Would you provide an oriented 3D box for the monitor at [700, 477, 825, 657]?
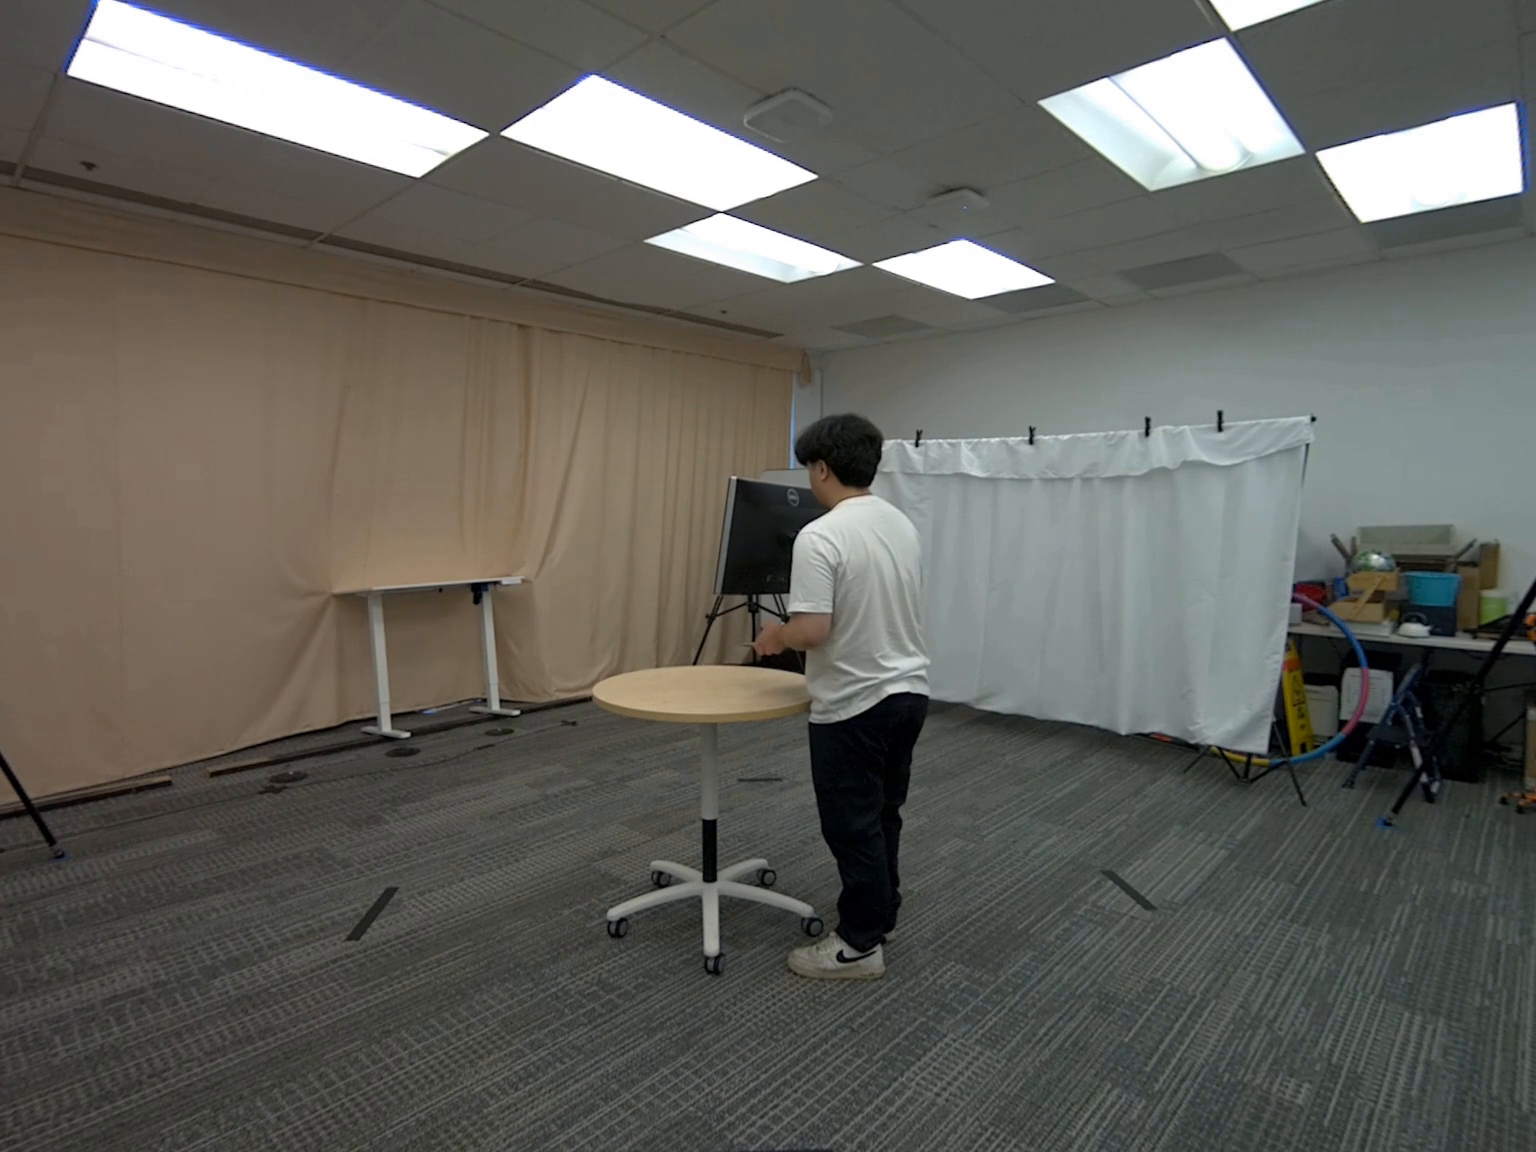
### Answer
[{"bbox_3d":[0.092,-0.027,2.704,0.217,0.554,0.547,4,2,38],"label":"monitor"}]
